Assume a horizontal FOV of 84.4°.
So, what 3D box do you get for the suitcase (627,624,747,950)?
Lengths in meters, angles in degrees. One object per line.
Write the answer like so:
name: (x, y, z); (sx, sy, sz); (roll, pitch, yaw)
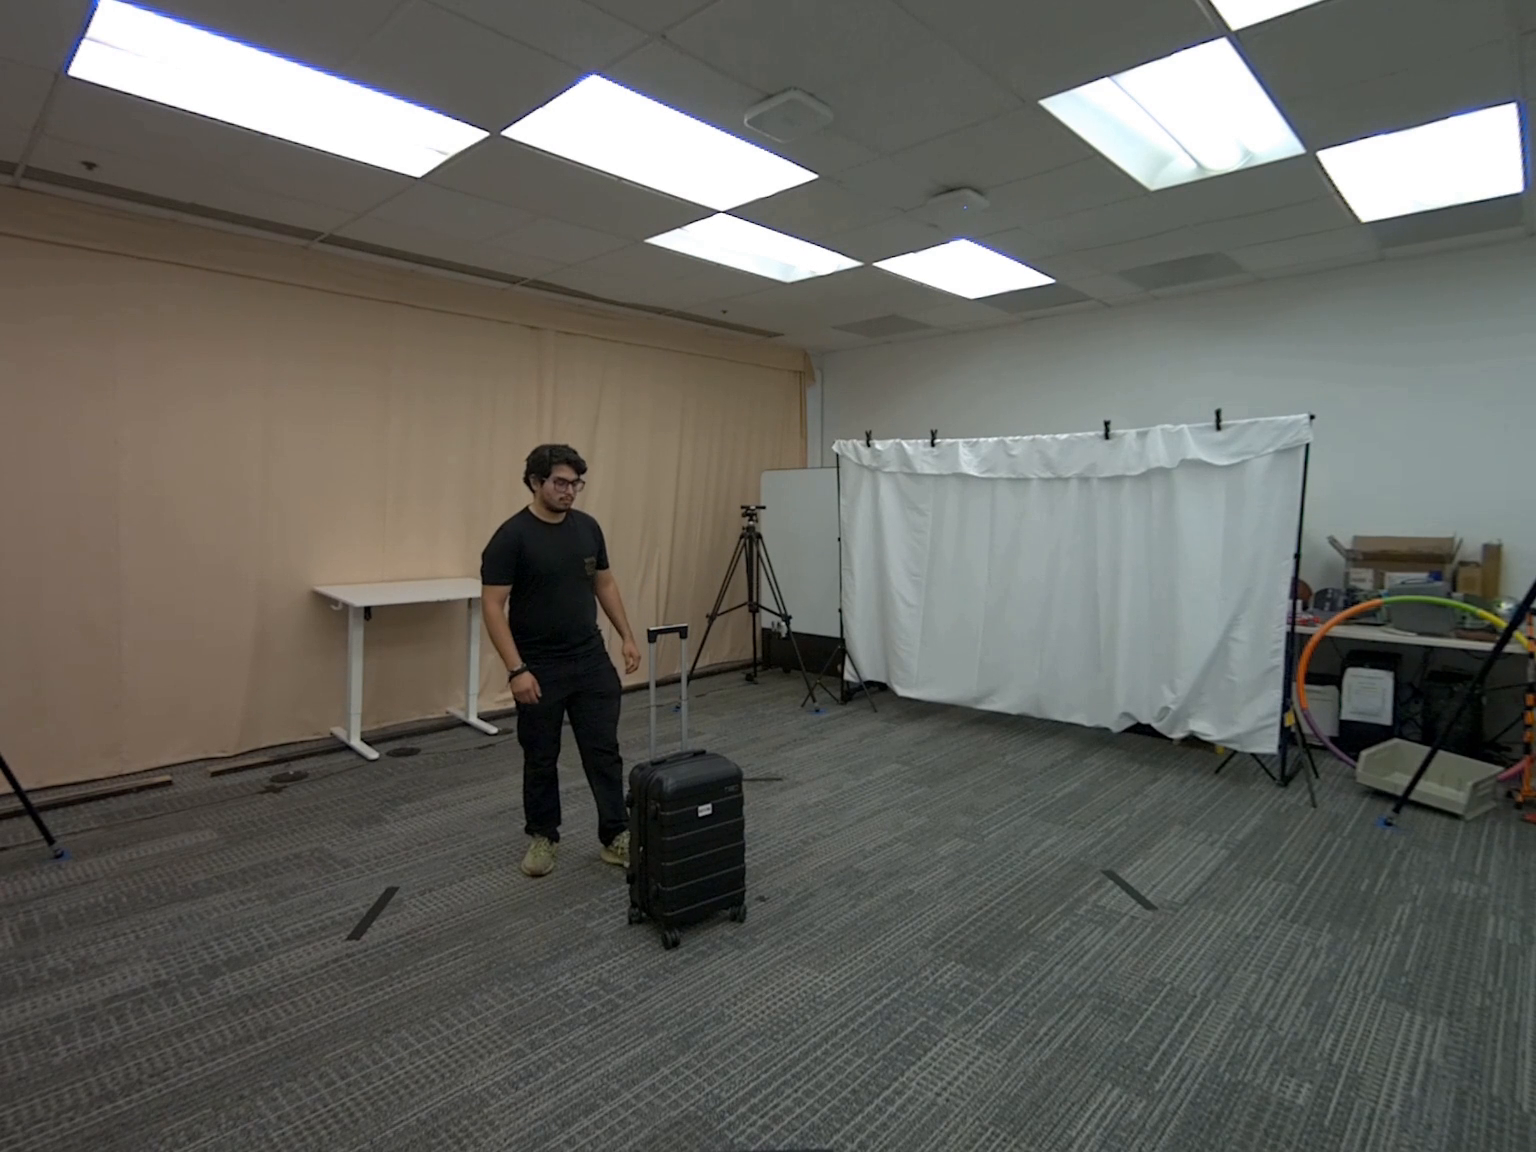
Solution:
suitcase: (-0.269, 0.680, 2.815); (0.373, 0.976, 0.265); (-3, 4, -37)
